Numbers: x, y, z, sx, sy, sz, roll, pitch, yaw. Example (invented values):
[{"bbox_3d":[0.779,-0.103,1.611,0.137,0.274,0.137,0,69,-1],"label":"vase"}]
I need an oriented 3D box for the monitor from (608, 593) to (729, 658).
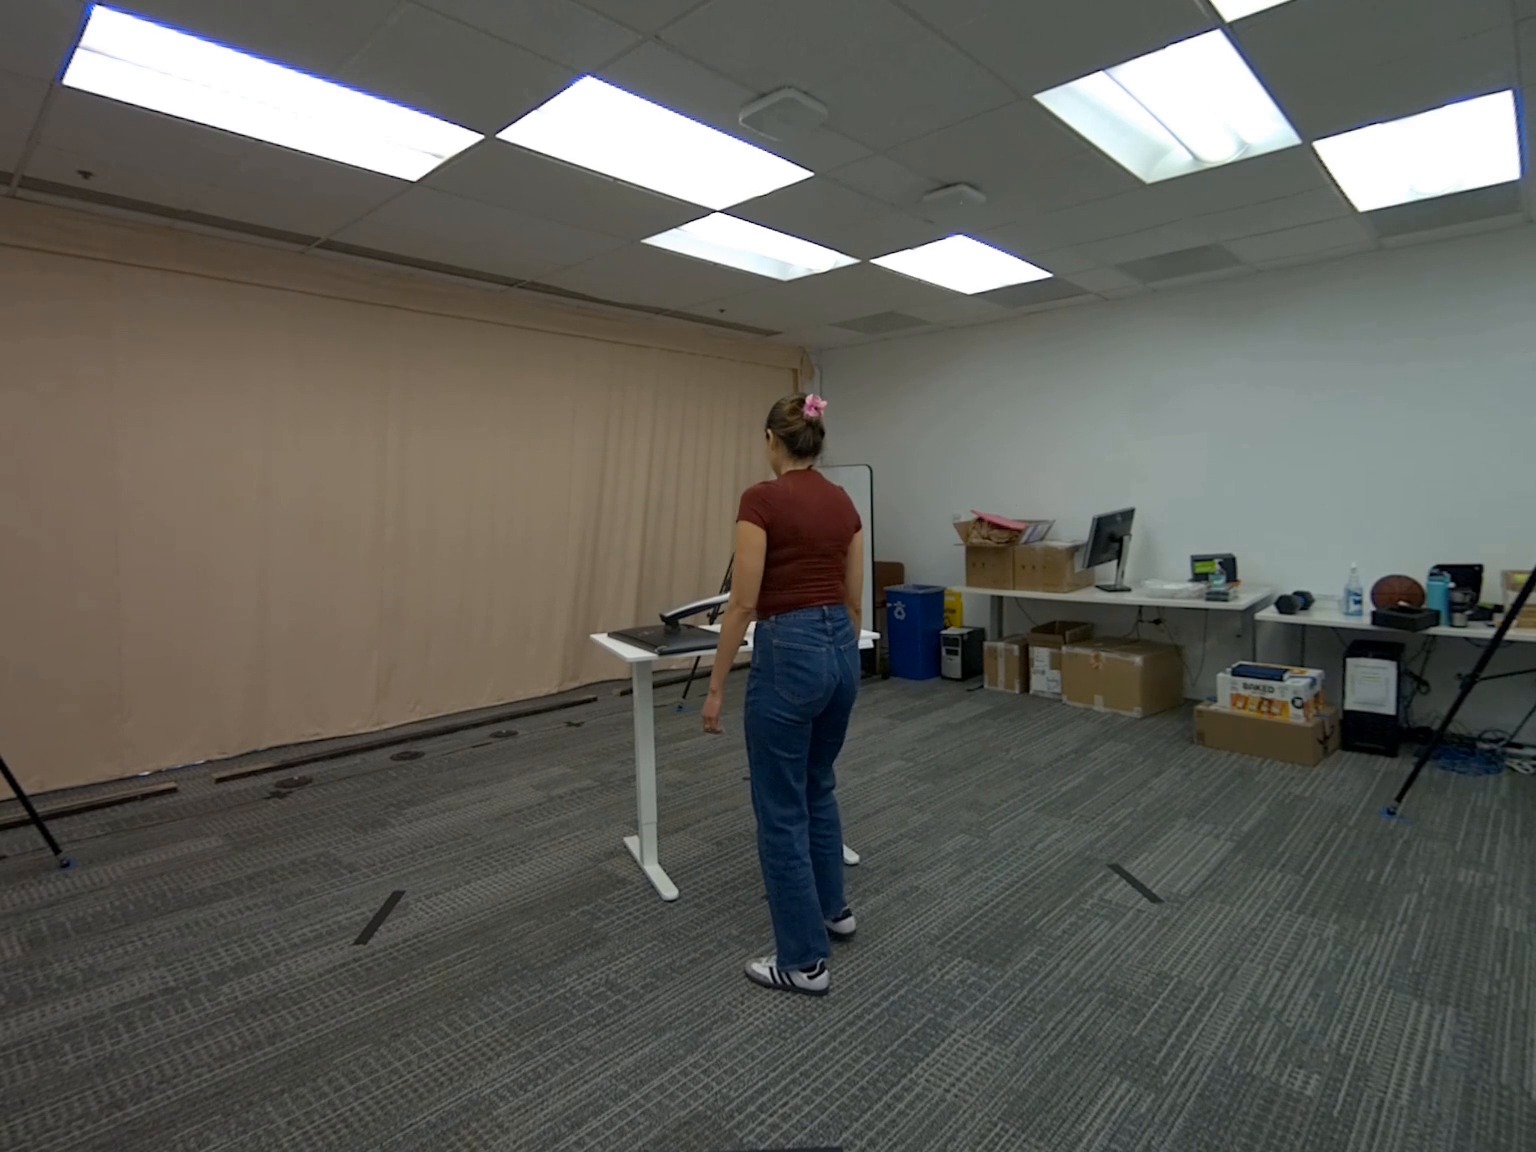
[{"bbox_3d":[-0.290,0.180,3.238,0.513,0.185,0.553,-23,13,-25],"label":"monitor"}]
